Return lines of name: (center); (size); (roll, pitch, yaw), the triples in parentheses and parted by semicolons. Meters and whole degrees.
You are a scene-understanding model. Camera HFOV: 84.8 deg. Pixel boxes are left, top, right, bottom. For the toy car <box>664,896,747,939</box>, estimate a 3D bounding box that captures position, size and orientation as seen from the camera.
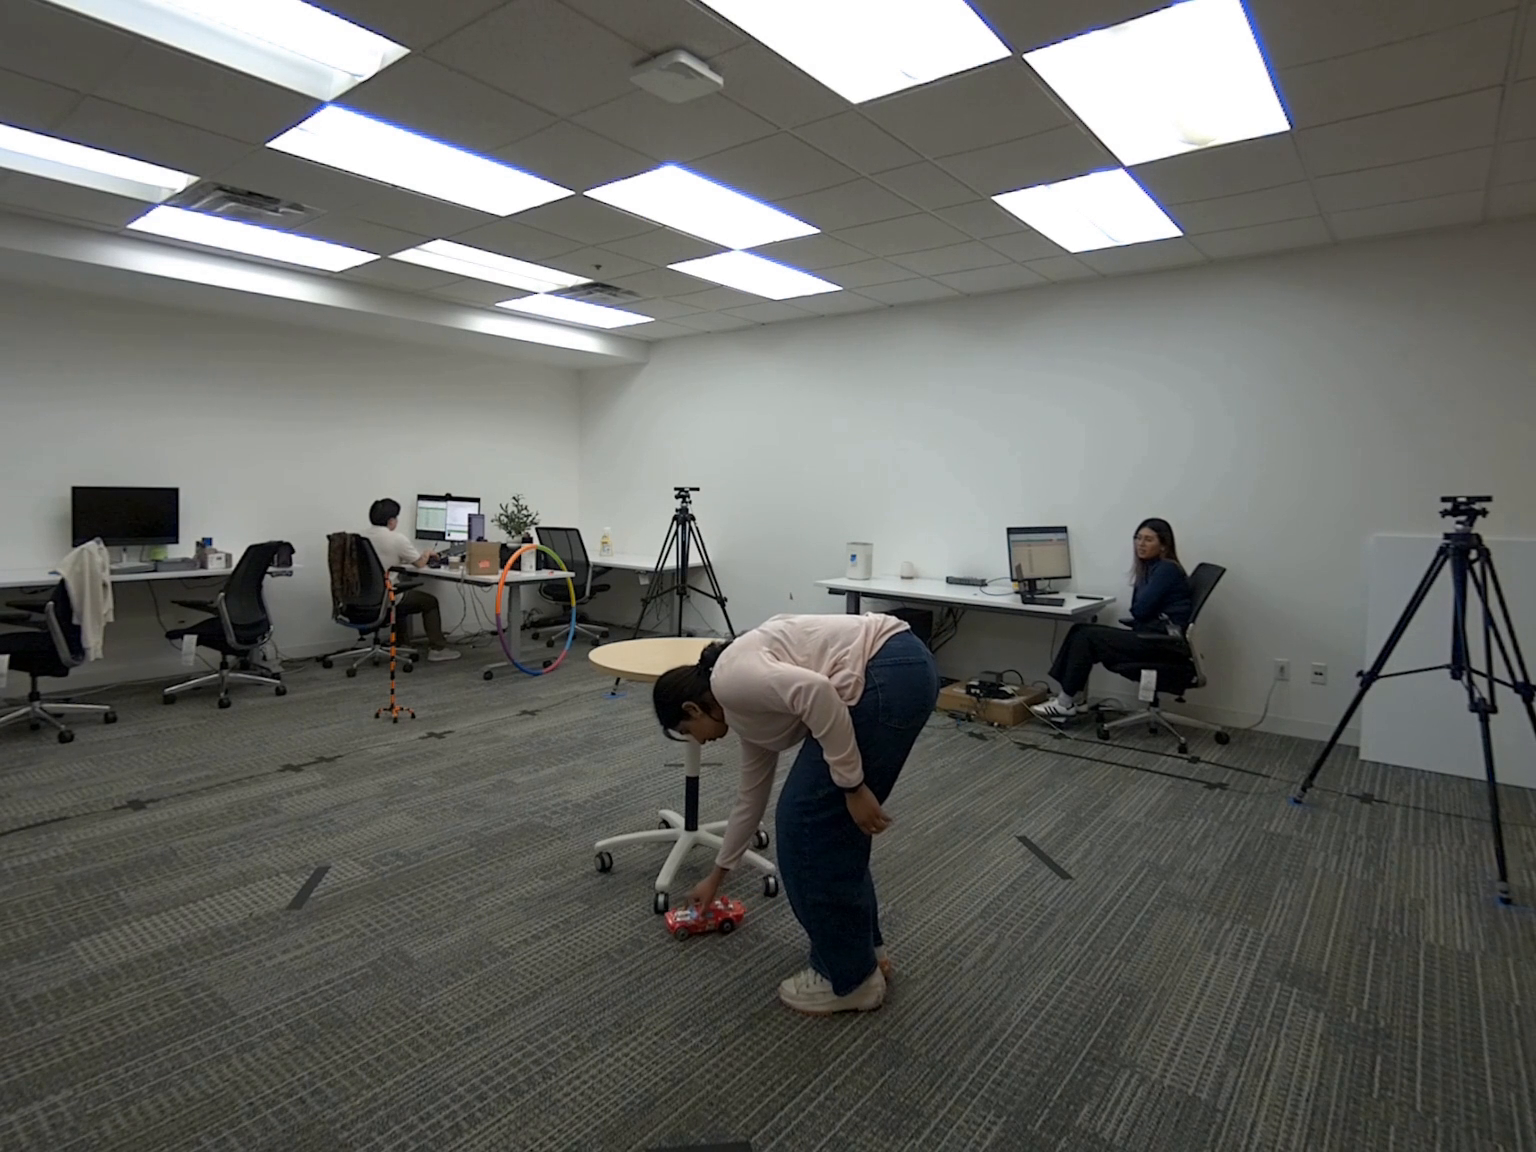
toy car: (-0.199, 1.074, 2.686); (0.251, 0.082, 0.133); (-14, 10, -17)
